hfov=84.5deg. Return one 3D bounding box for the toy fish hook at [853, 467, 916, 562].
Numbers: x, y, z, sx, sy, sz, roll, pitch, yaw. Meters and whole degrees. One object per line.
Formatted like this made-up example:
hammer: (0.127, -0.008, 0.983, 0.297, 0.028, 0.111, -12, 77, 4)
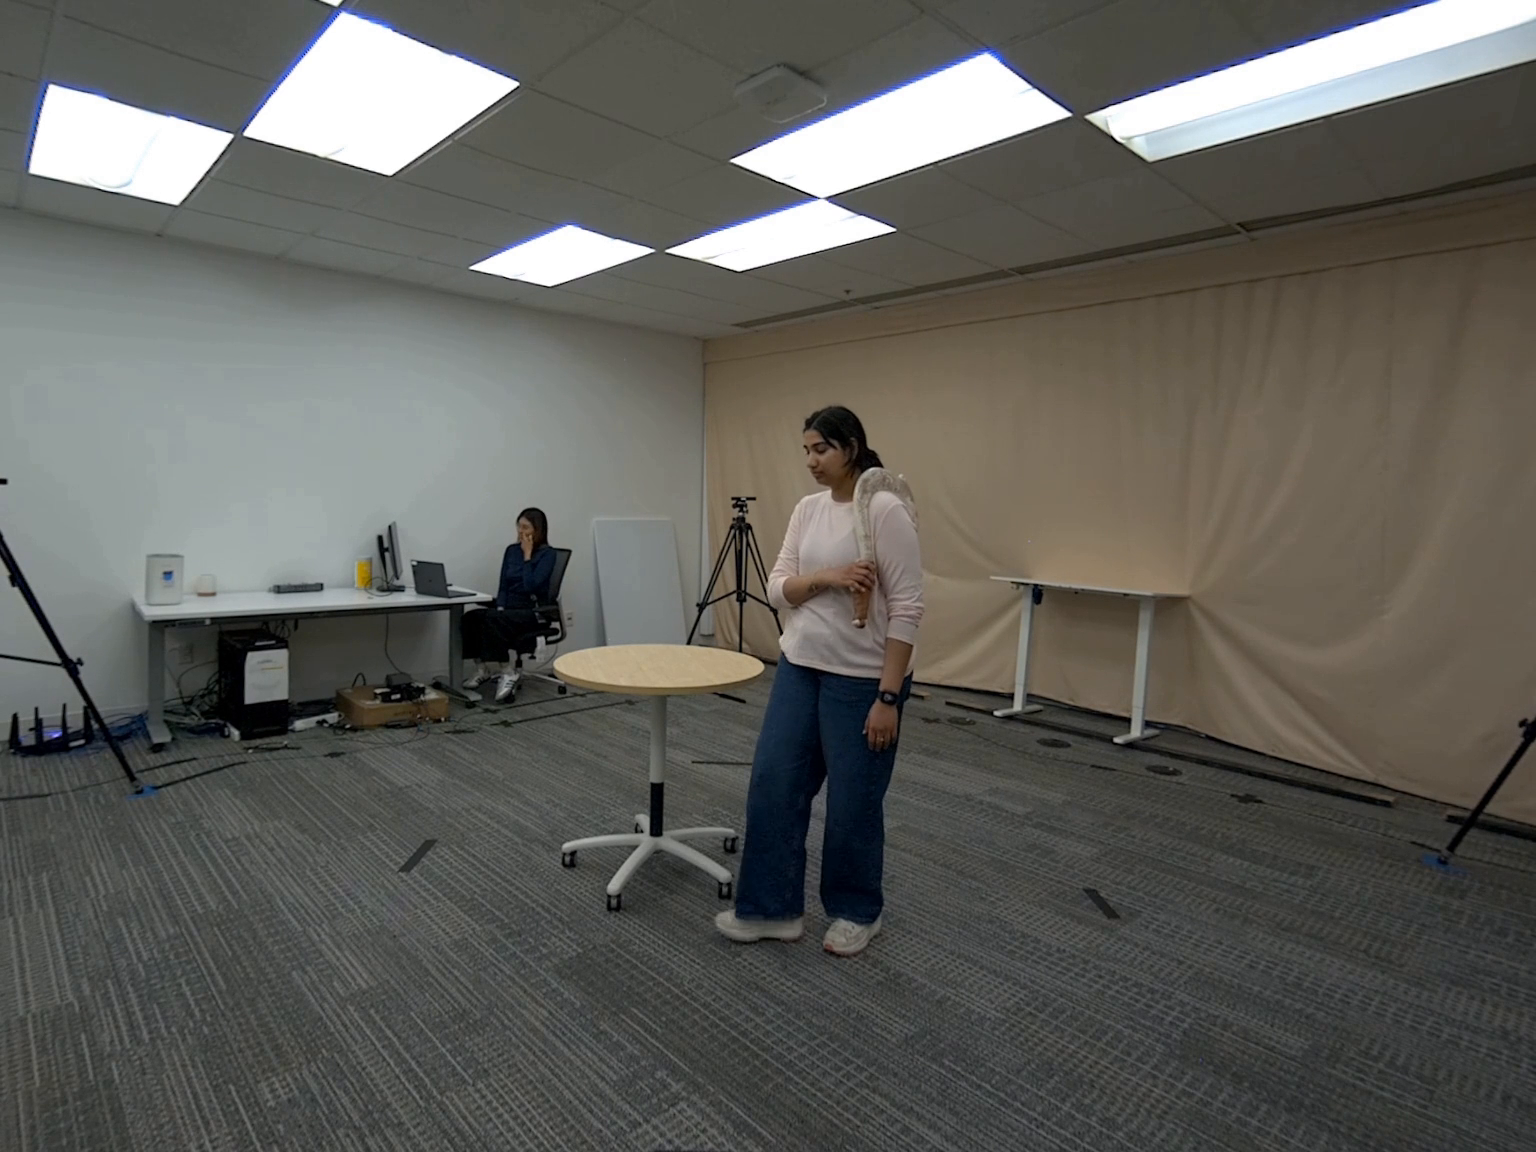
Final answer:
toy fish hook: (0.334, -0.075, 2.469, 0.221, 0.512, 0.048, 14, -18, -15)
